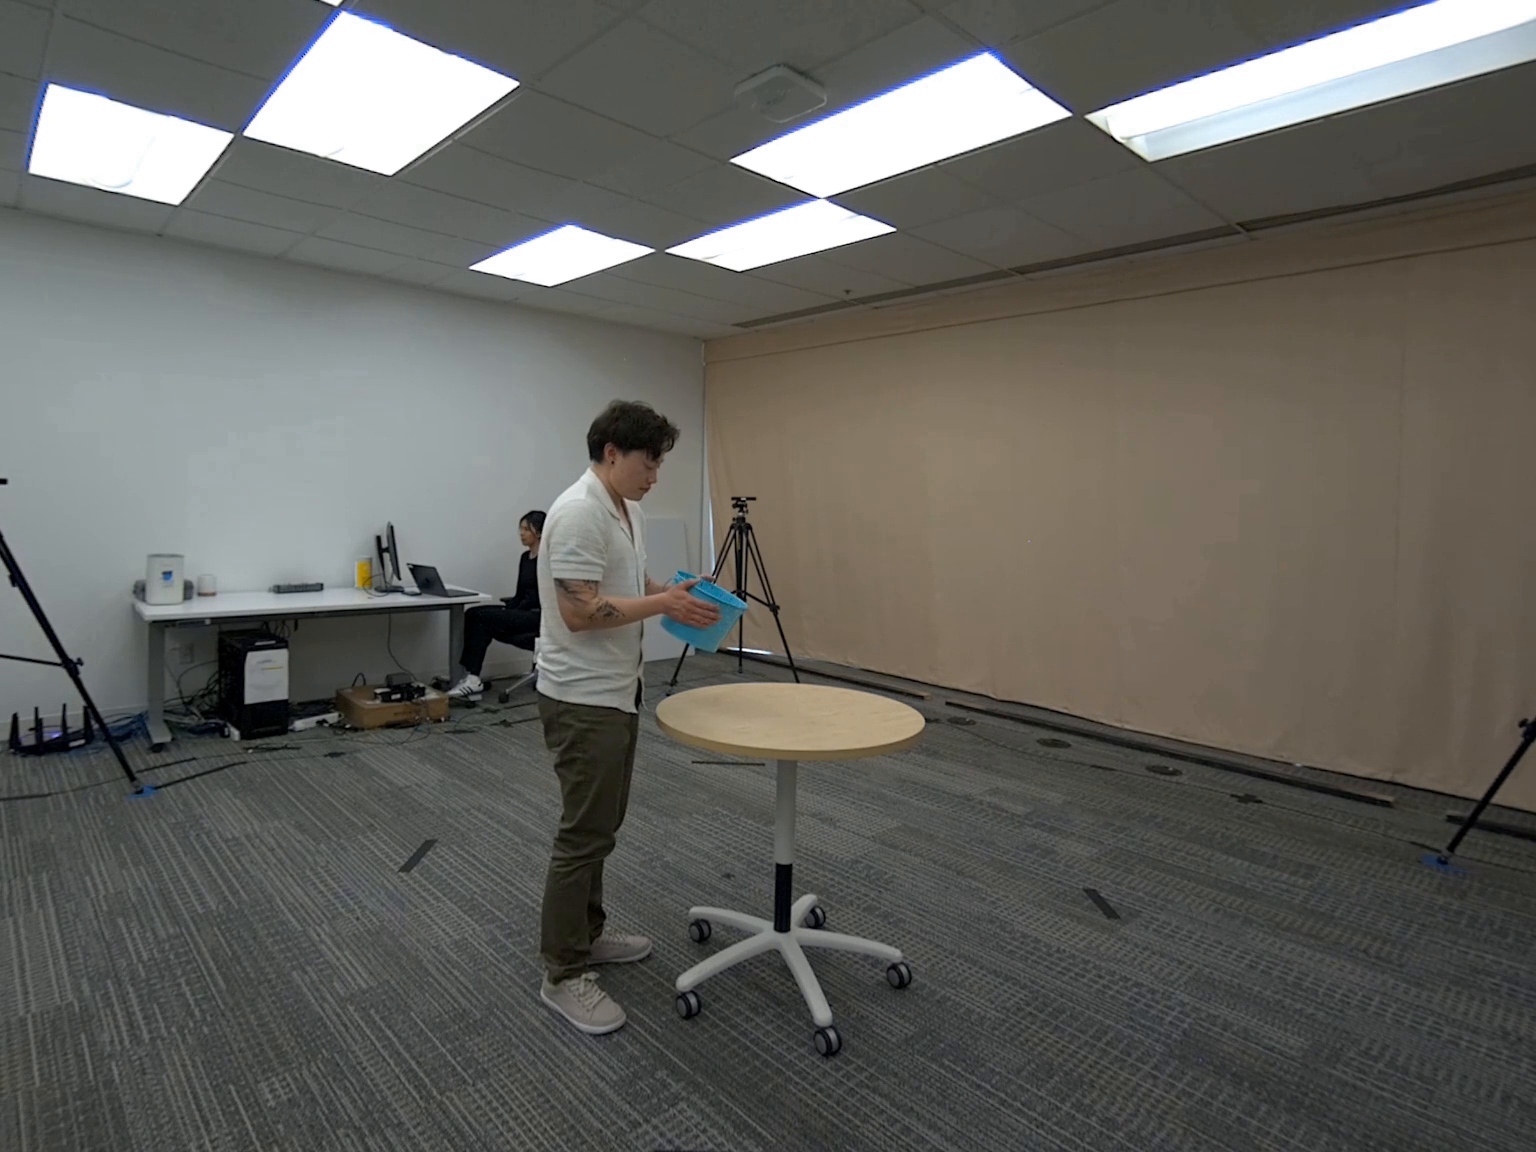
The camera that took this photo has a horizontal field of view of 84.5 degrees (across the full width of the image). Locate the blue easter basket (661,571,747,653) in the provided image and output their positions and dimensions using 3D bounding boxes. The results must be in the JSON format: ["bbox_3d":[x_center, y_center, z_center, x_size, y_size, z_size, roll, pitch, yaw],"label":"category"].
[{"bbox_3d":[-0.211,0.107,2.387,0.243,0.155,0.245,26,5,-4],"label":"blue easter basket"}]
